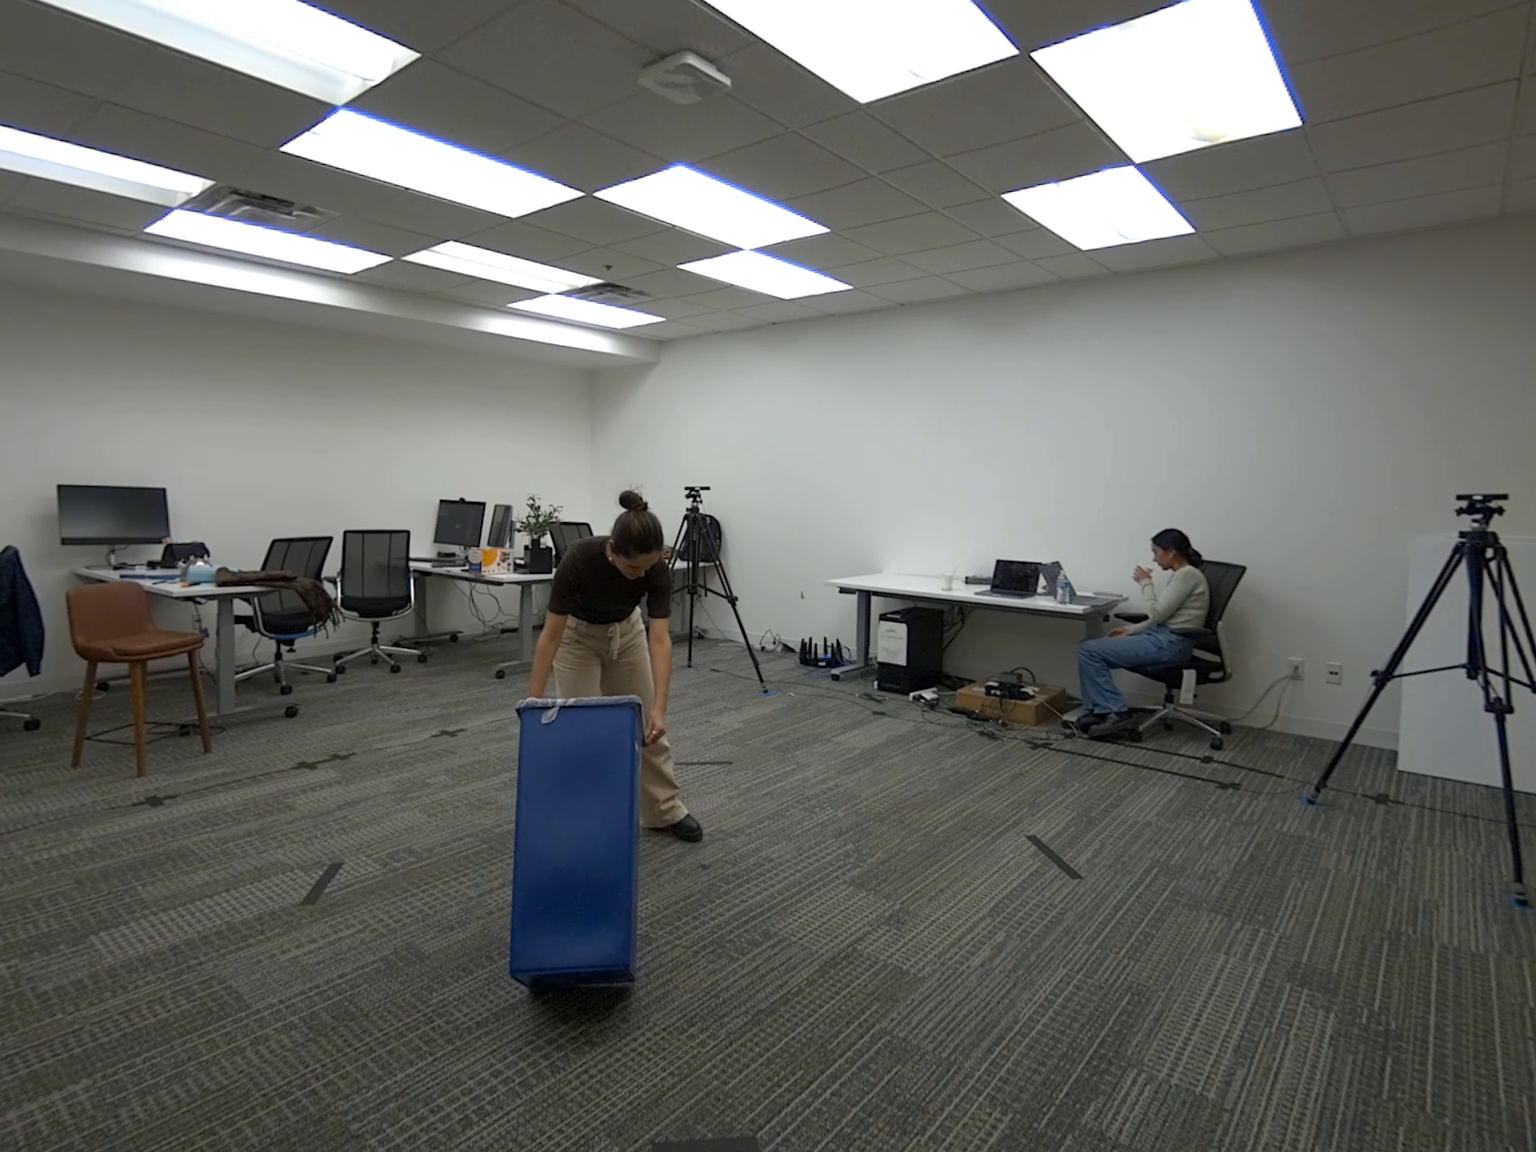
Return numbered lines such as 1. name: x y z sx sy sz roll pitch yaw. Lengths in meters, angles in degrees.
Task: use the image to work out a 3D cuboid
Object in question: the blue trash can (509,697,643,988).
1. blue trash can: -0.533 0.756 2.448 0.376 0.734 0.365 -1 -32 -6
